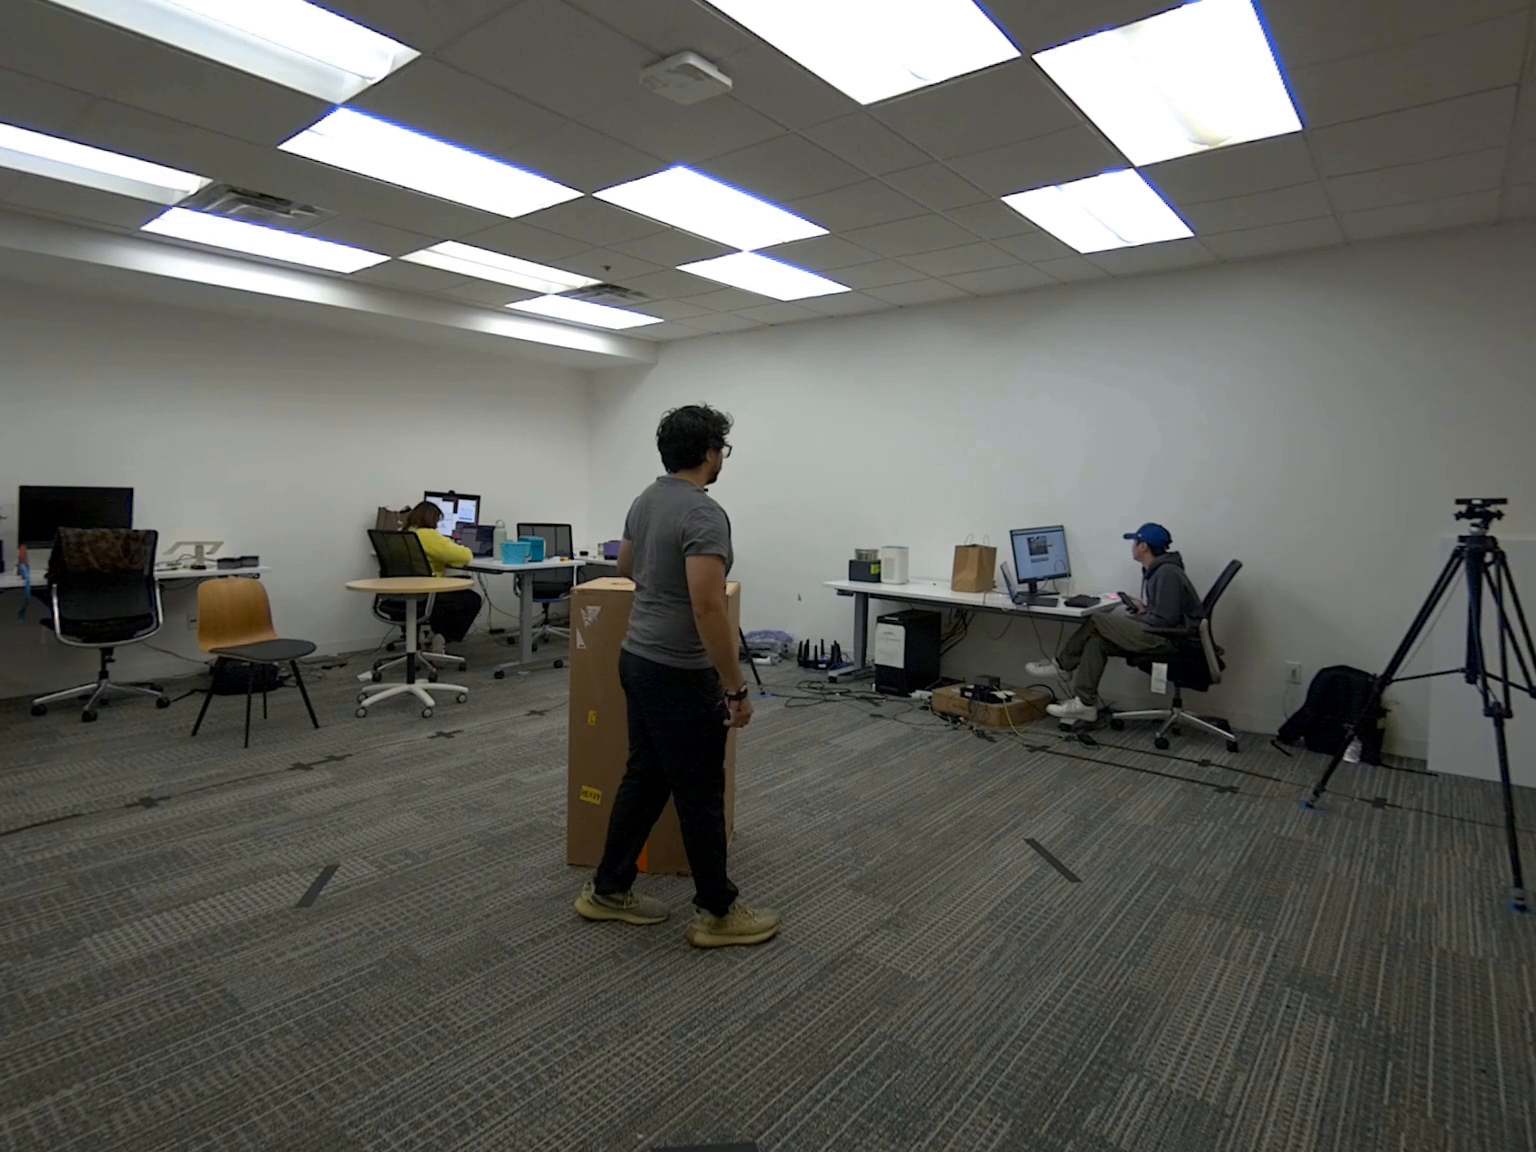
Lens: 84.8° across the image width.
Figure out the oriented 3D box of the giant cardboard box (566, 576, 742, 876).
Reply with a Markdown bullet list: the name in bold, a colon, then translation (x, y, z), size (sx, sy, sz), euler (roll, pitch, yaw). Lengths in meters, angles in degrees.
- **giant cardboard box**: translation (-0.440, 0.538, 3.262), size (0.582, 1.023, 0.424), euler (2, 3, 7)
